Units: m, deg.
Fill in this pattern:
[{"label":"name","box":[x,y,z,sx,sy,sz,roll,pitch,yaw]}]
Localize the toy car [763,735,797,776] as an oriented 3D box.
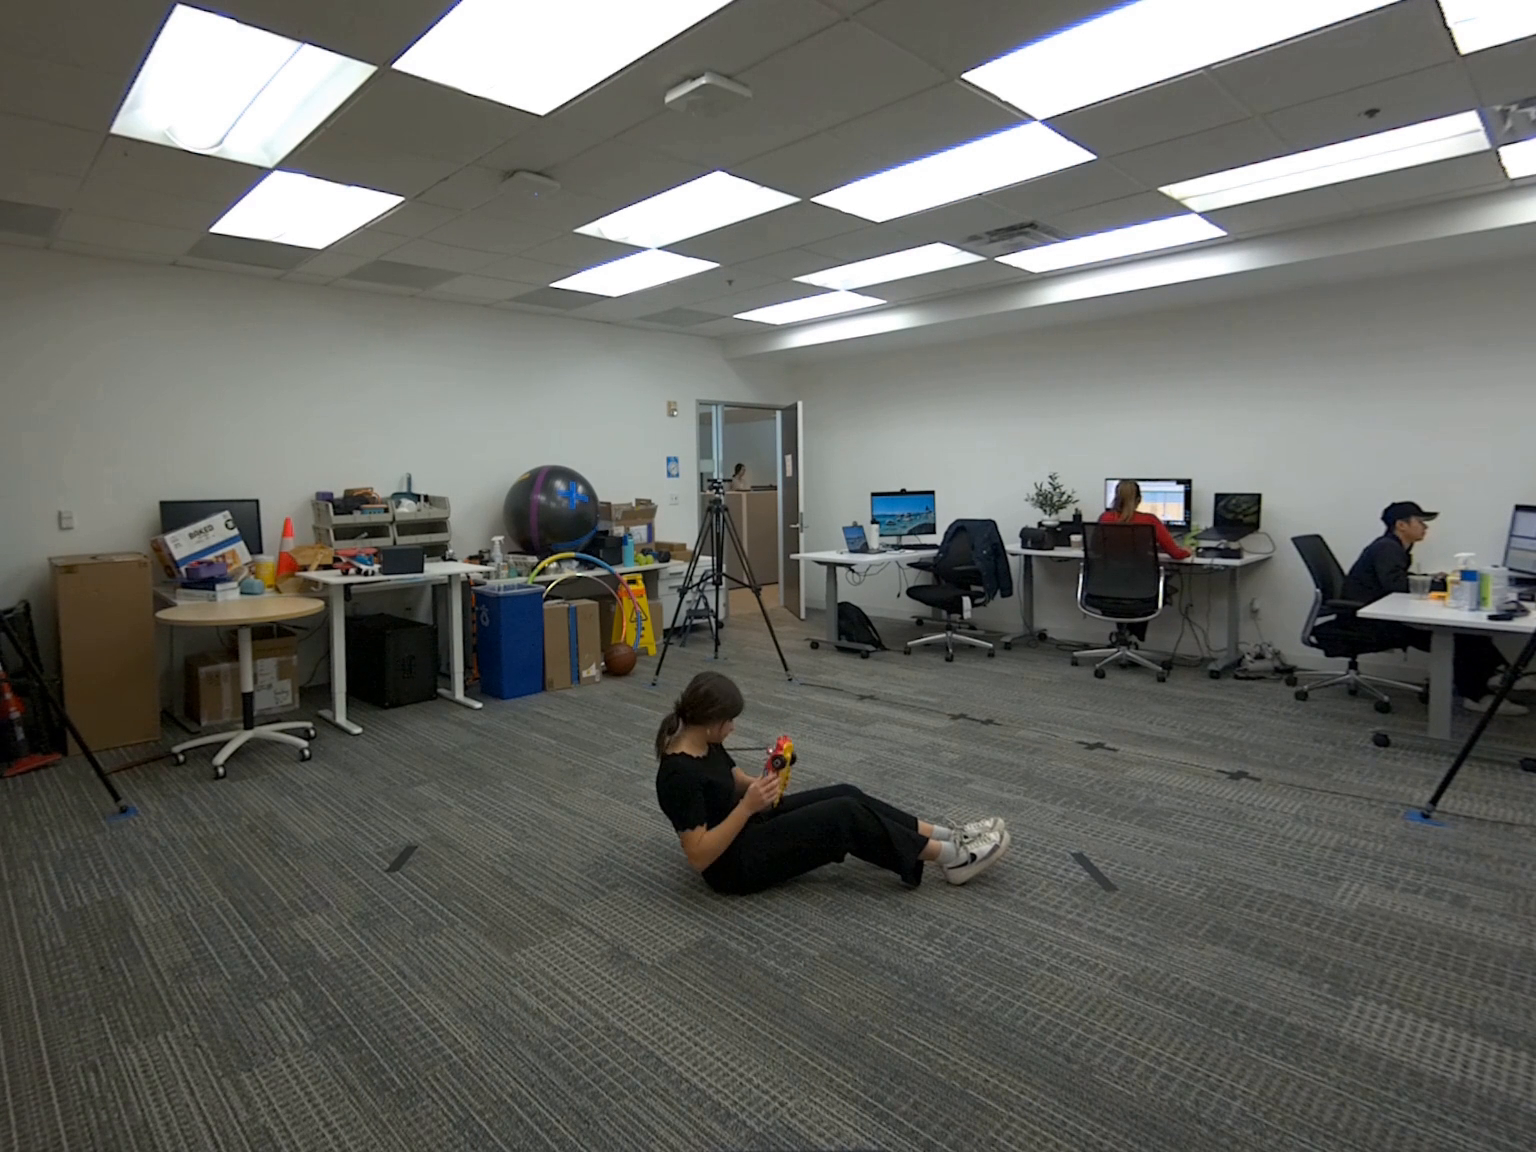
[{"label":"toy car","box":[0.025,0.670,2.857,0.085,0.255,0.127,5,-2,27]}]
